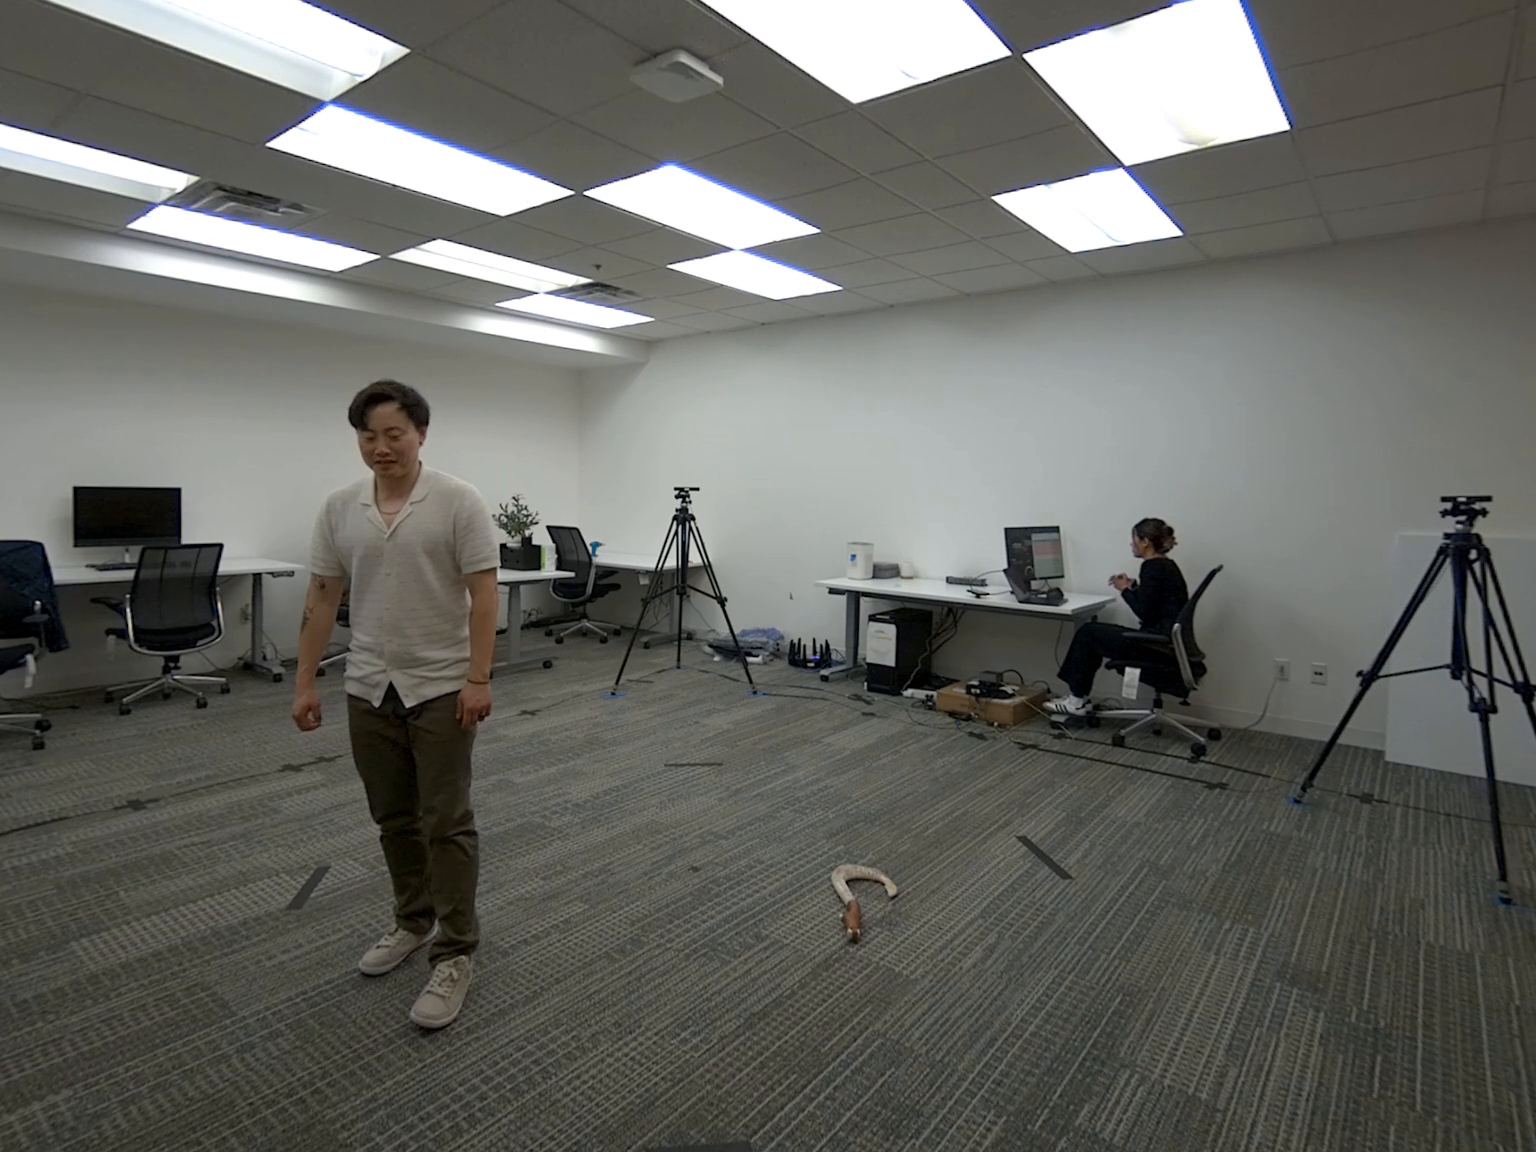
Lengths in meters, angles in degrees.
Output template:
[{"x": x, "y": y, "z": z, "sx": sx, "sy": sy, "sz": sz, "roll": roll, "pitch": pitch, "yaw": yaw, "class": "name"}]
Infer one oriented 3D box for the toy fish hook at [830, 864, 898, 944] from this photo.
[{"x": 0.324, "y": 1.080, "z": 2.844, "sx": 0.226, "sy": 0.048, "sz": 0.506, "roll": 0, "pitch": 6, "yaw": 4, "class": "toy fish hook"}]
